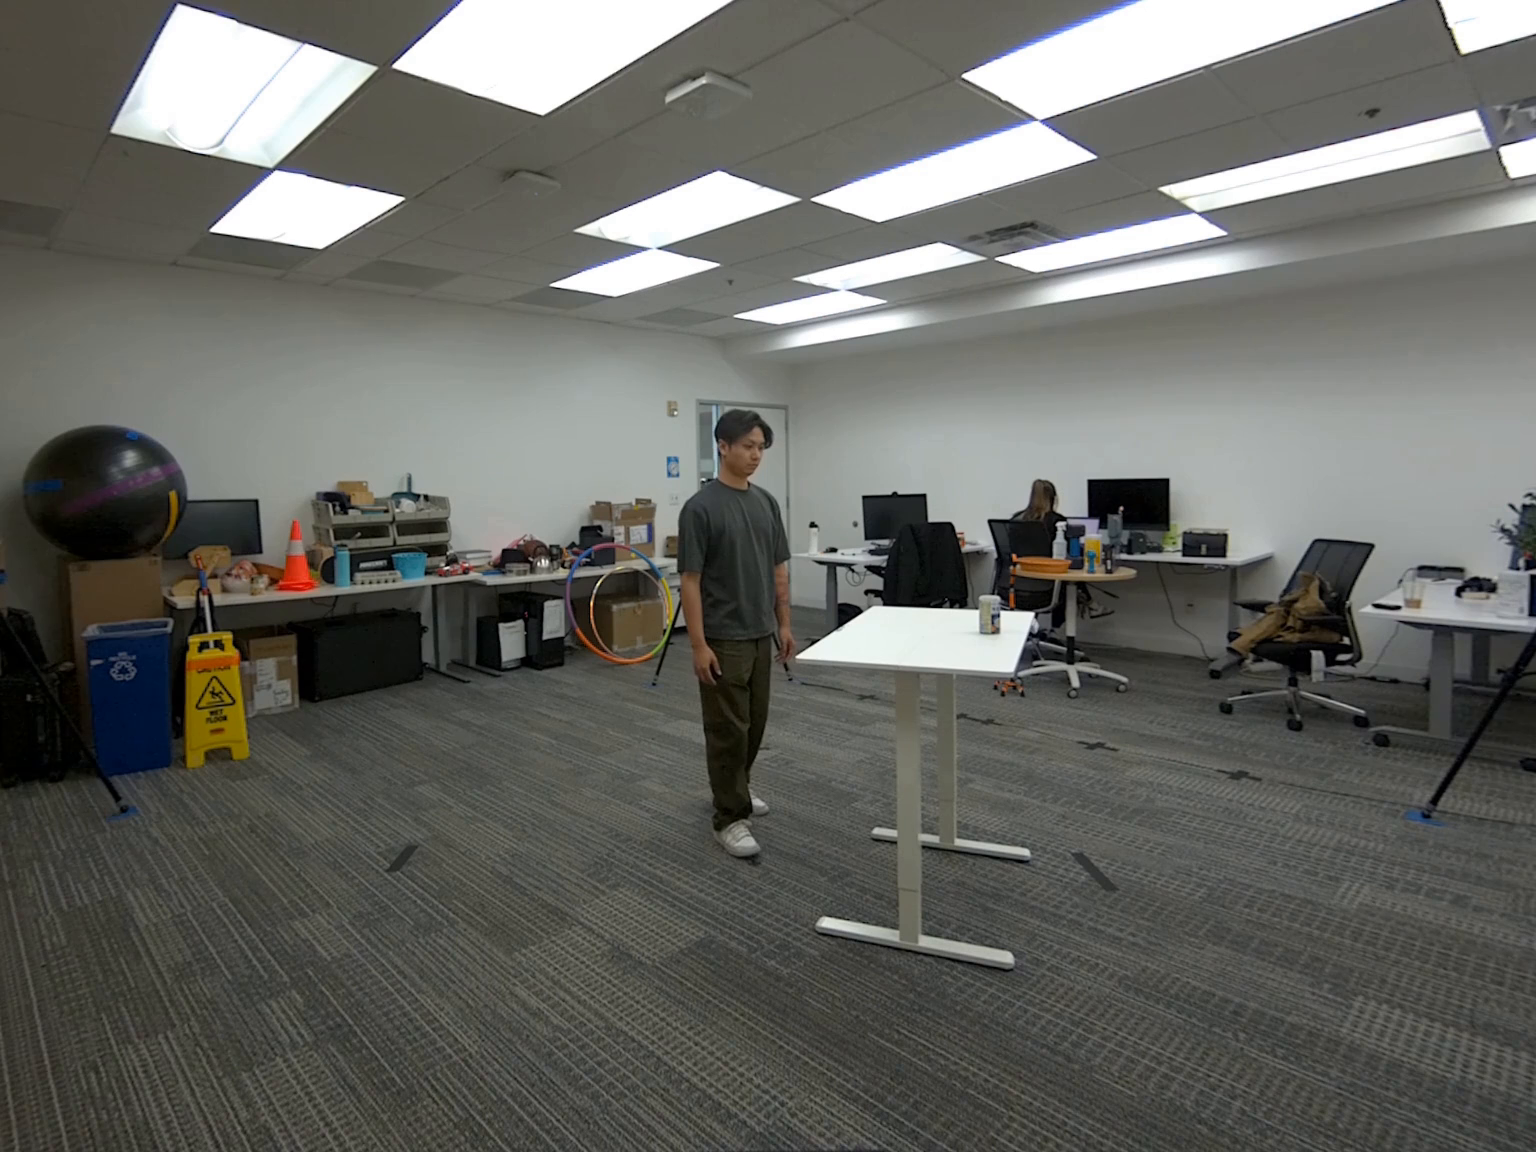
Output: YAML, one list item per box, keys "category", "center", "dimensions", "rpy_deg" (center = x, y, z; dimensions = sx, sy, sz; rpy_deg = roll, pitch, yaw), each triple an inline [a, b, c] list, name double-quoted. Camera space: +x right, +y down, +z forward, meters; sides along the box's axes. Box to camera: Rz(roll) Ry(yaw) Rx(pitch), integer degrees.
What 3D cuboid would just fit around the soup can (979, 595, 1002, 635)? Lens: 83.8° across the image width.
- category: "soup can"
  center: [0.720, 0.127, 2.773]
  dimensions: [0.067, 0.121, 0.067]
  rpy_deg: [1, 4, -2]
